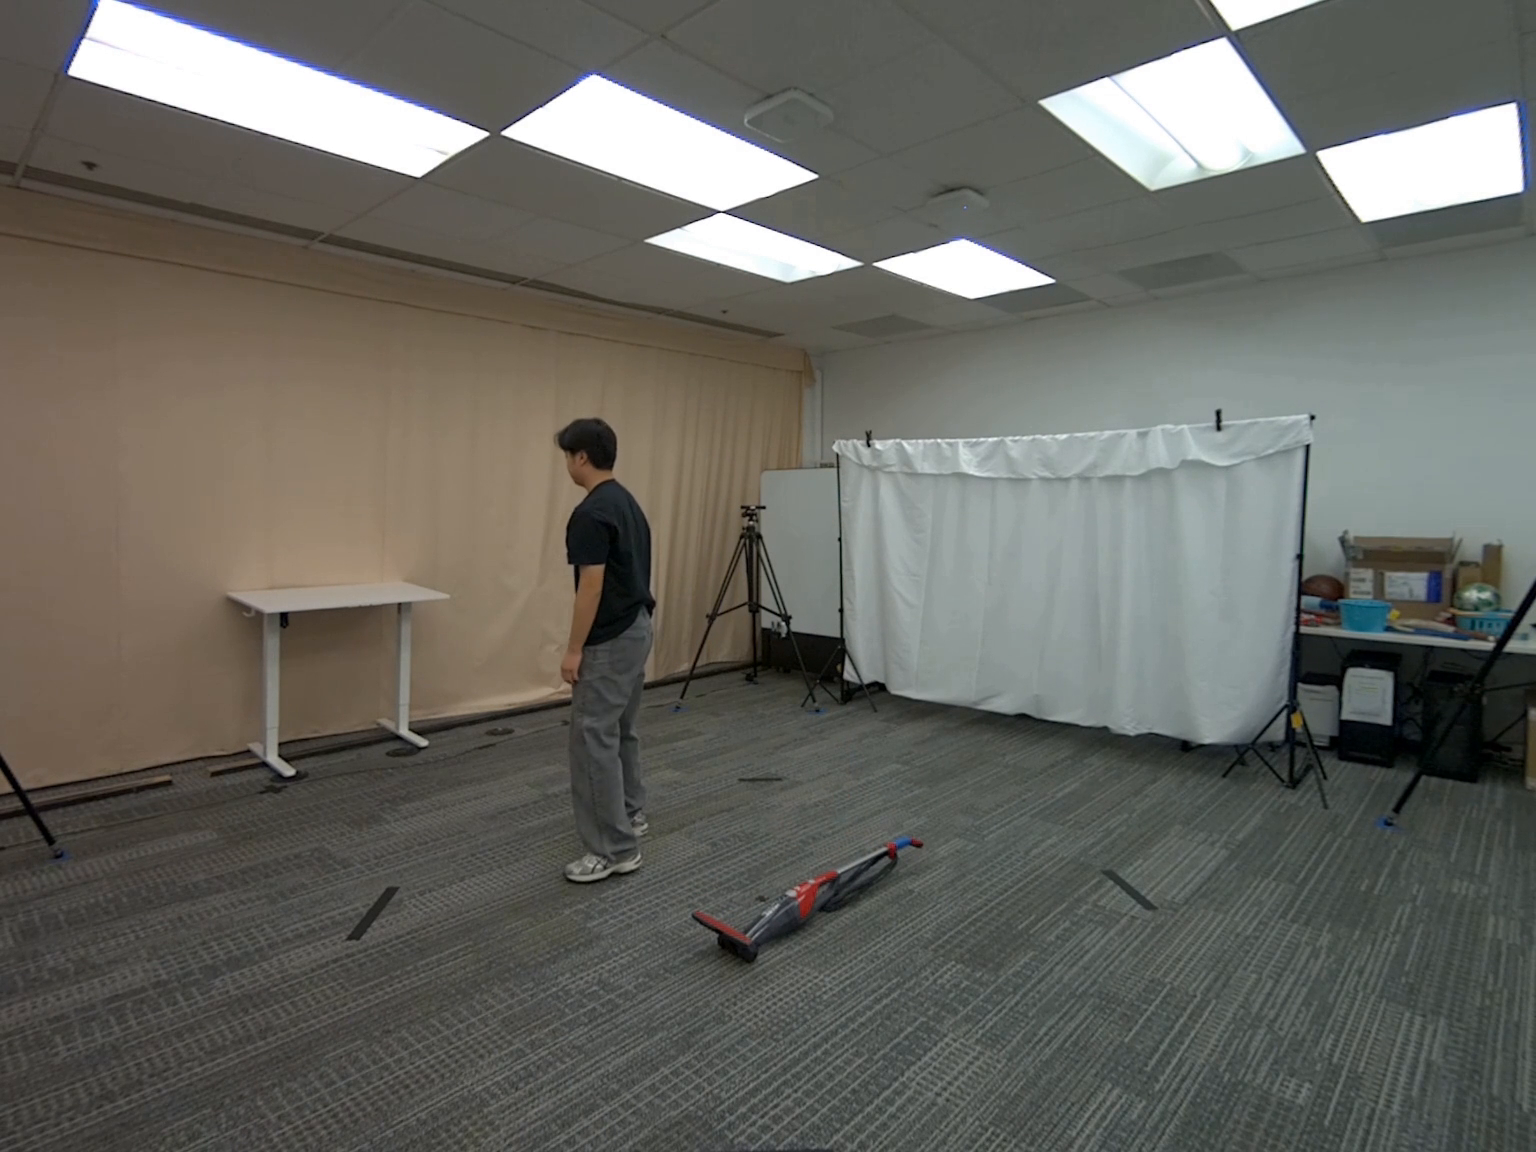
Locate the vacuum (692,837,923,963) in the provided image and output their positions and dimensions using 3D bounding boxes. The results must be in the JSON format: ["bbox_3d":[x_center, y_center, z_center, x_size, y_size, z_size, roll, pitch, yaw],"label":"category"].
[{"bbox_3d":[0.234,1.091,2.933,1.017,0.143,0.261,-4,7,-44],"label":"vacuum"}]
